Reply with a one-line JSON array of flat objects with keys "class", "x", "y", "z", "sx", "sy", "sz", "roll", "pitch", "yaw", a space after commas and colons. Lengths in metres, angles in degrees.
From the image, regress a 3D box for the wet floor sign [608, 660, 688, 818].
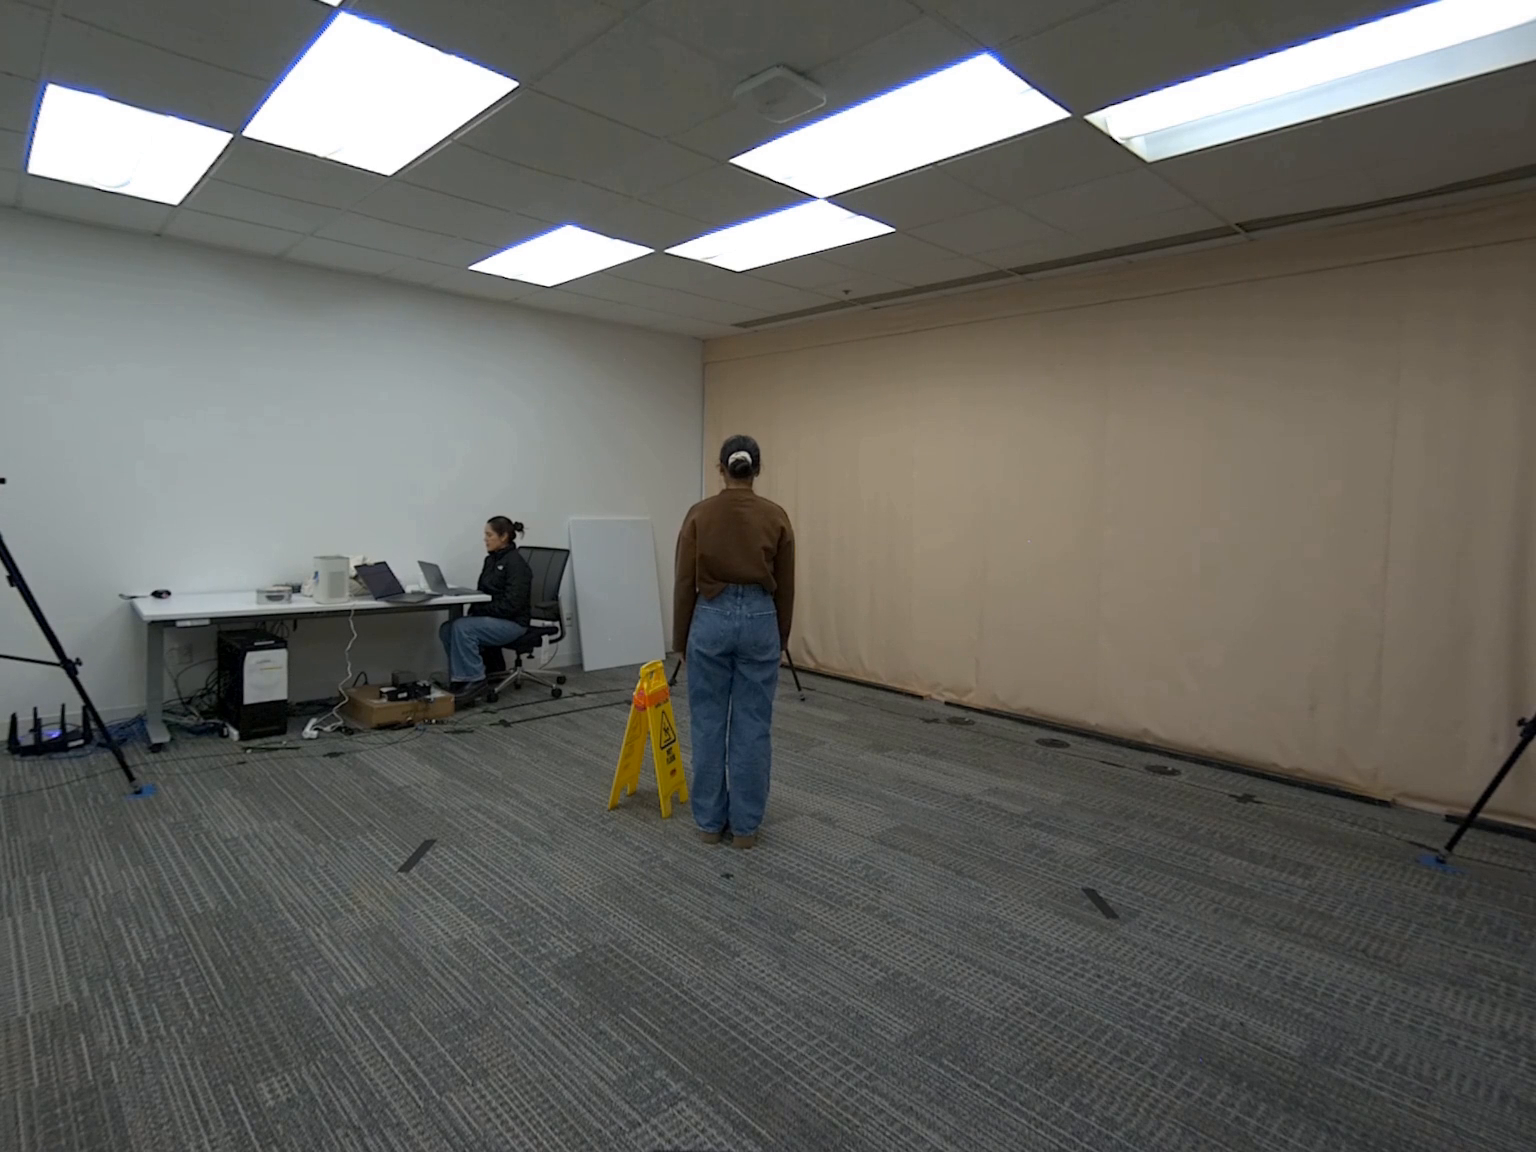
[{"class": "wet floor sign", "x": -0.541, "y": 0.712, "z": 3.804, "sx": 0.294, "sy": 0.645, "sz": 0.279, "roll": 2, "pitch": 2, "yaw": 16}]
